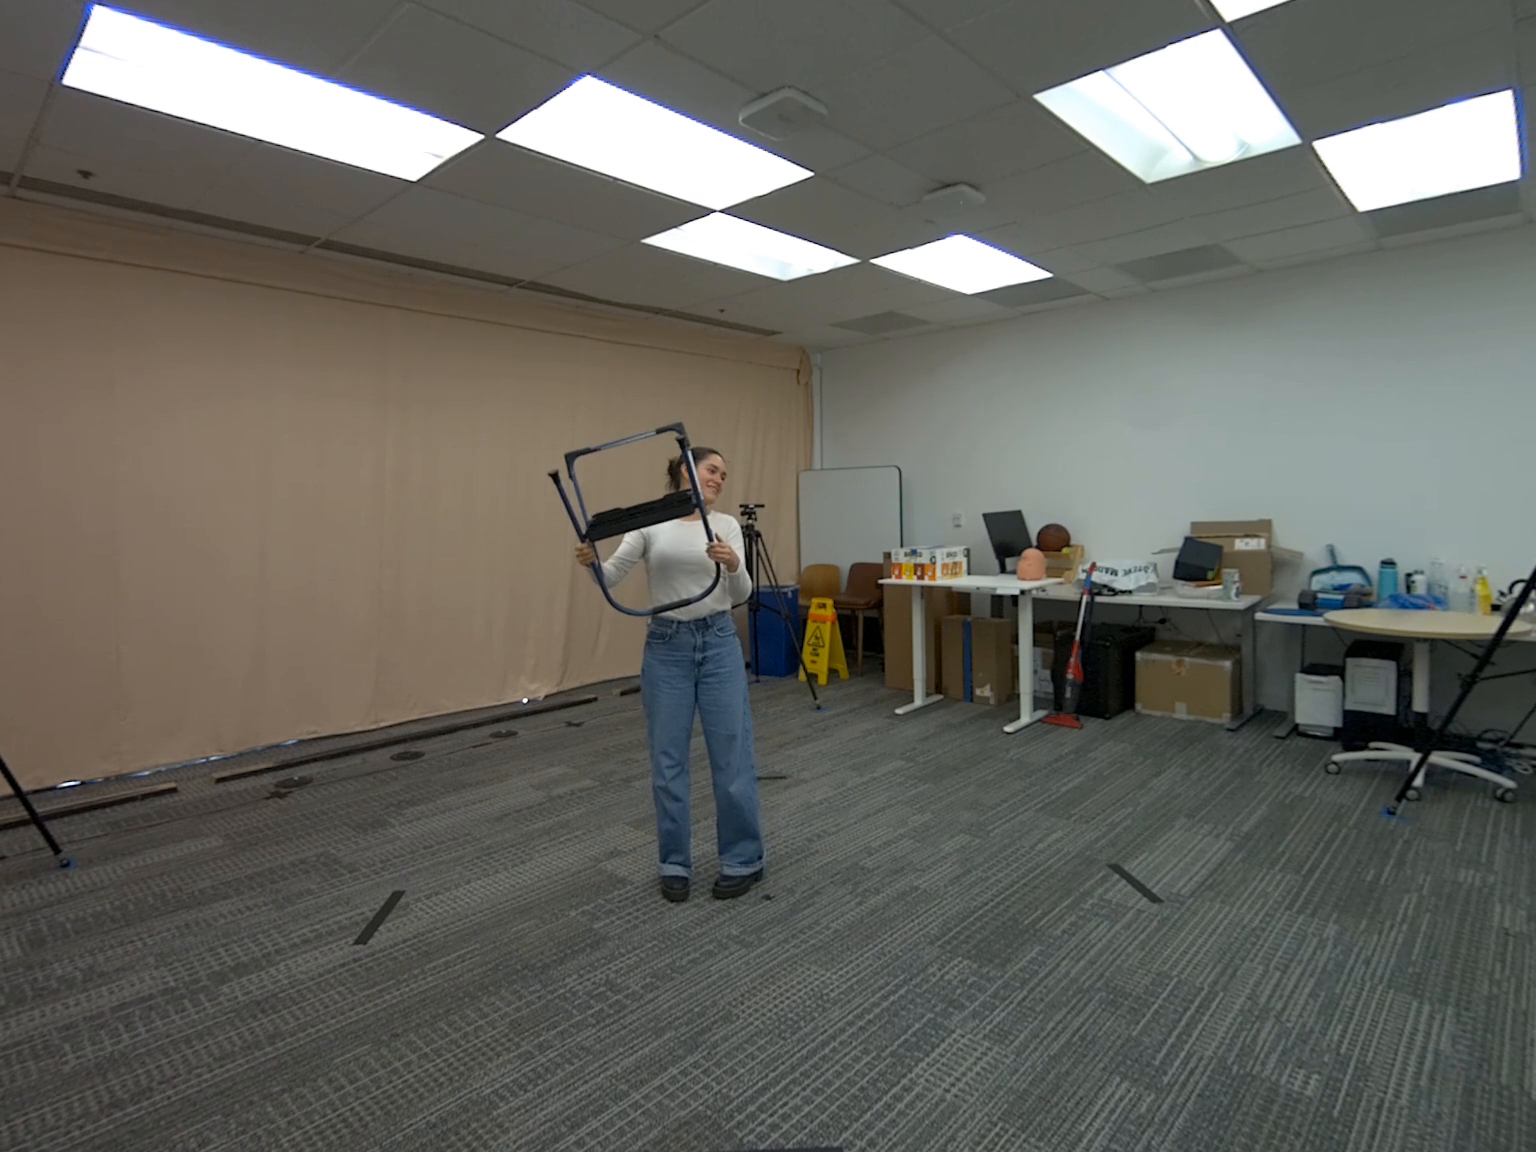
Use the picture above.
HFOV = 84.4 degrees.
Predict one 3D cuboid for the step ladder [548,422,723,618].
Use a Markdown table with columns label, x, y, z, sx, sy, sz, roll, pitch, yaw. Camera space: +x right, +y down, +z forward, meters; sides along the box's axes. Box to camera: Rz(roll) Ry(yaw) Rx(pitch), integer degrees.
| label | x | y | z | sx | sy | sz | roll | pitch | yaw |
| --- | --- | --- | --- | --- | --- | --- | --- | --- | --- |
| step ladder | -0.386 | -0.140 | 2.743 | 0.431 | 0.597 | 0.354 | -15 | 18 | 1 |
